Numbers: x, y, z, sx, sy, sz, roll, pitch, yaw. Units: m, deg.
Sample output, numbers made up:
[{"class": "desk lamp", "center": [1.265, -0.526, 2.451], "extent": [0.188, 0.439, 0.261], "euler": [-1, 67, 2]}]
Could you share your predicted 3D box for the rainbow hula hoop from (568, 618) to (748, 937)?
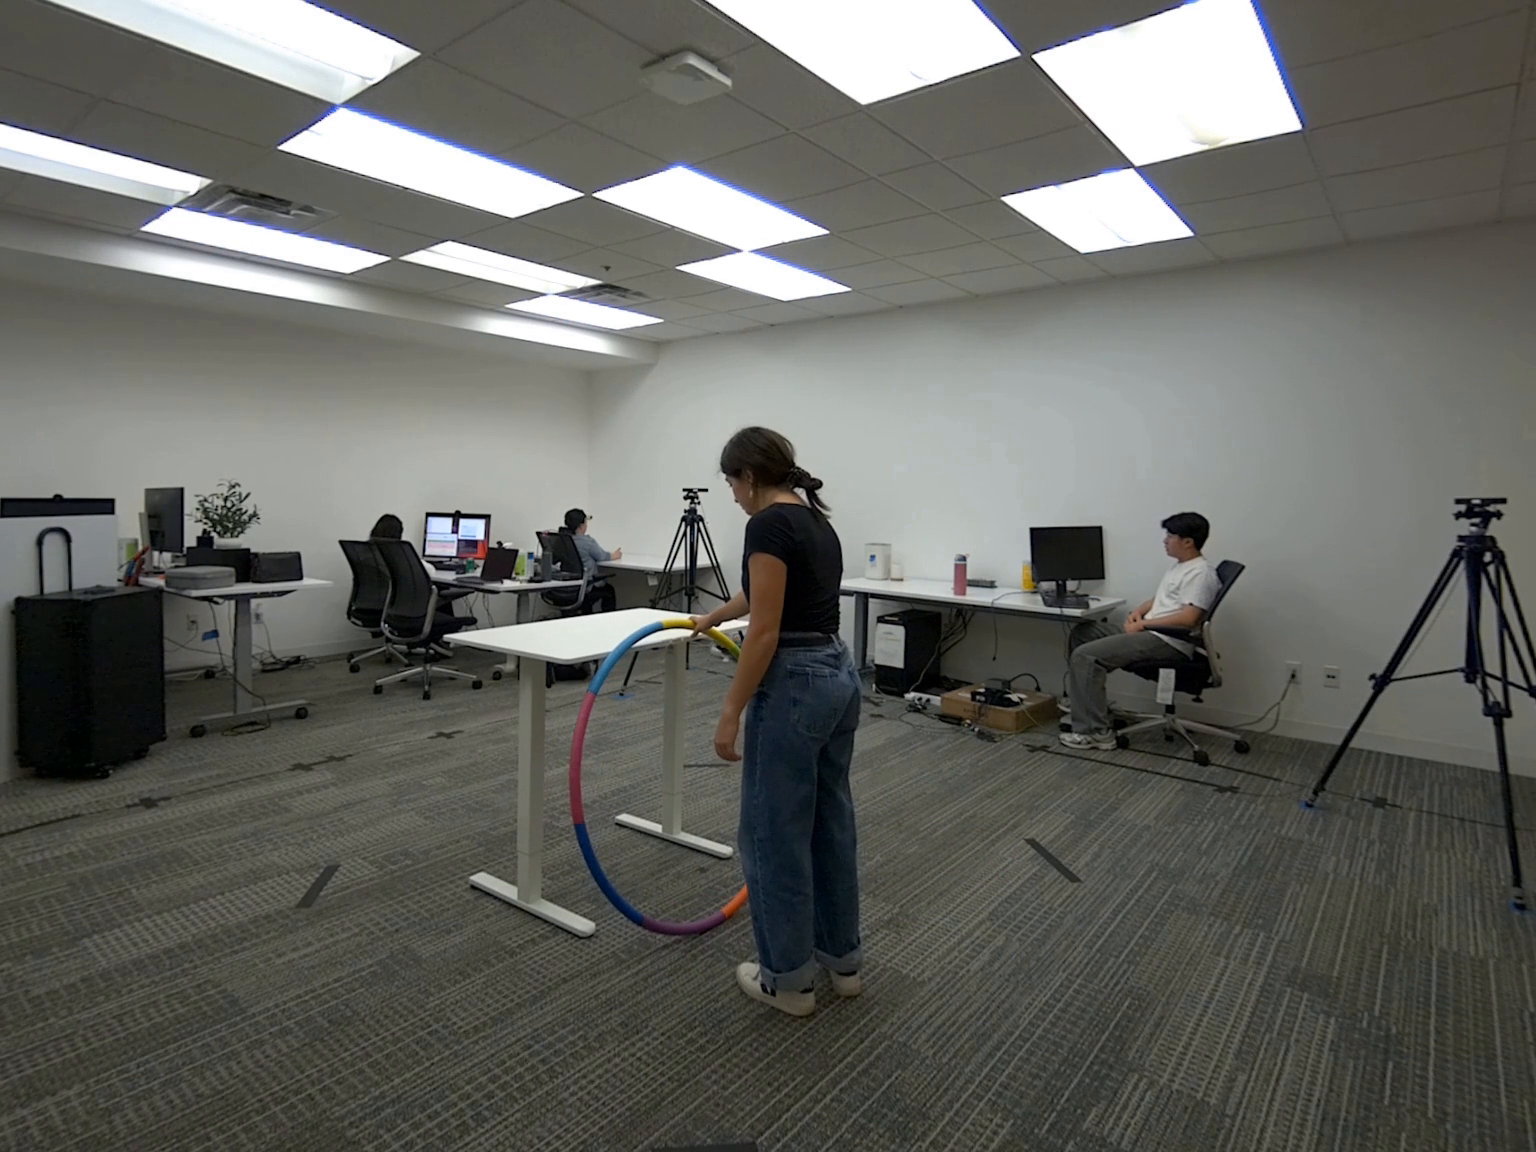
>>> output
[{"class": "rainbow hula hoop", "center": [-0.245, 0.624, 2.752], "extent": [0.036, 0.985, 0.950], "euler": [-14, -6, 38]}]
